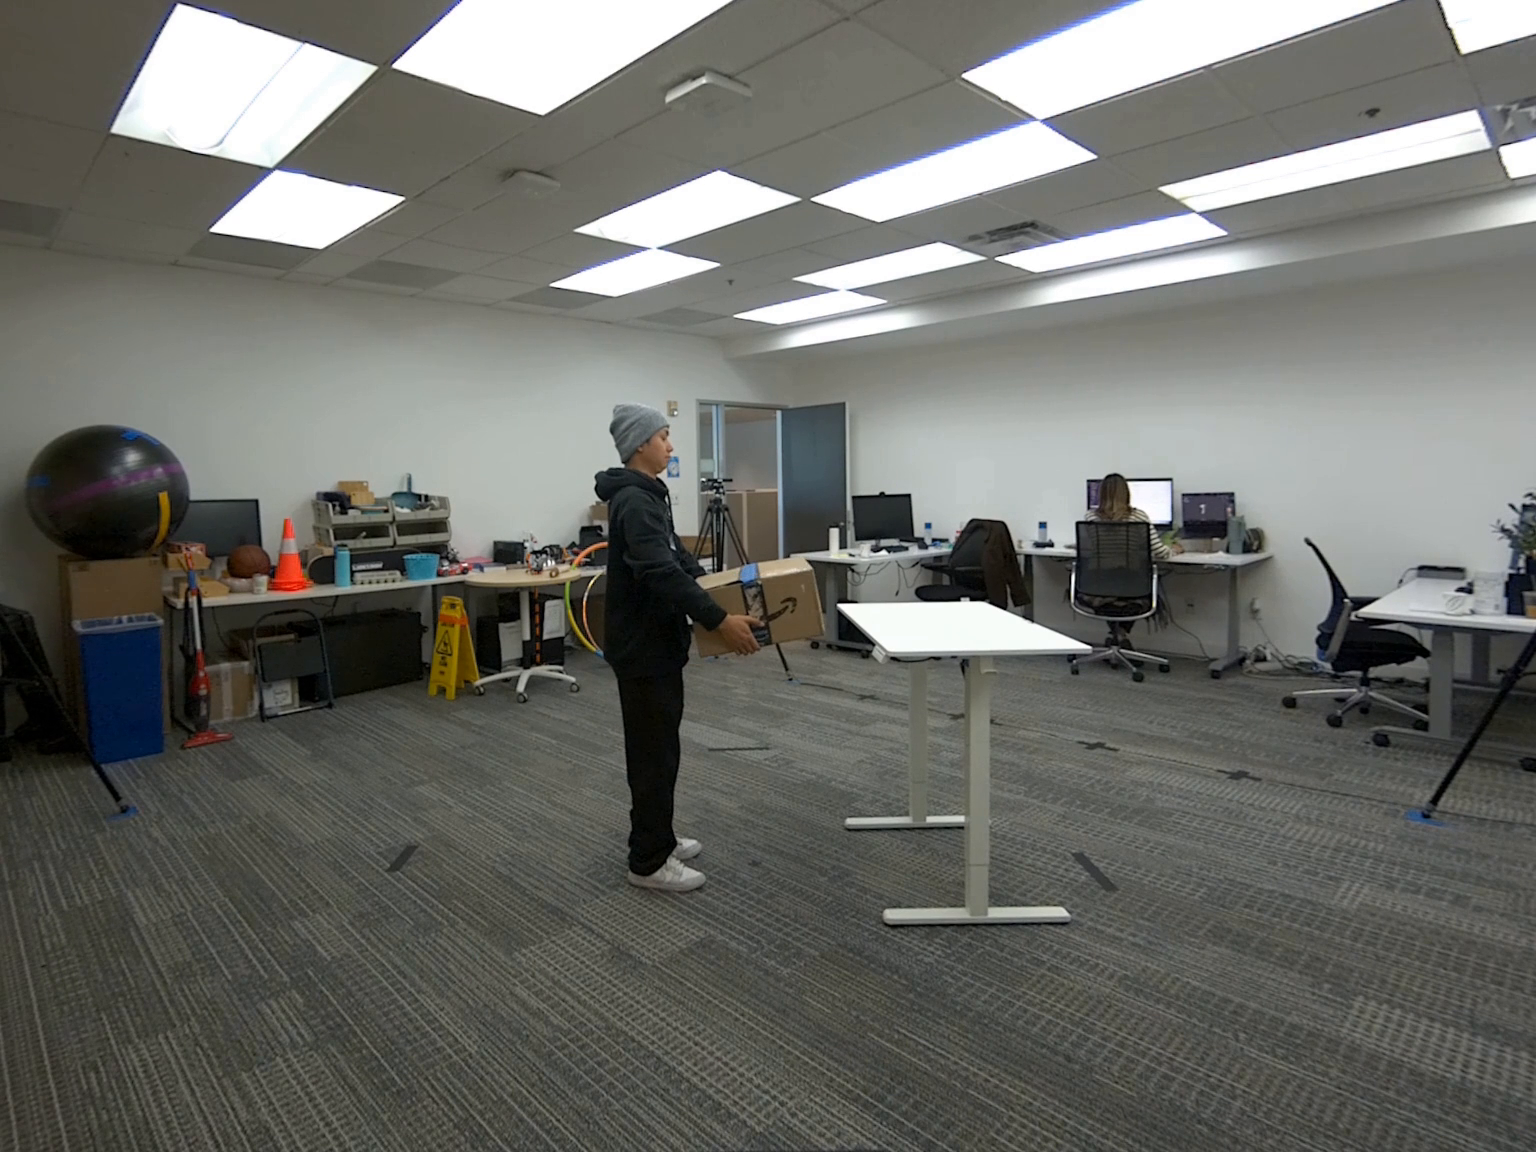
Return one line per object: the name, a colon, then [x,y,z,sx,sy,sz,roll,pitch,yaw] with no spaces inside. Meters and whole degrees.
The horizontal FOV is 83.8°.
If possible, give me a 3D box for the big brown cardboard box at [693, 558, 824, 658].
big brown cardboard box: [-0.054,0.091,3.012,0.418,0.232,0.590,-9,4,0]
